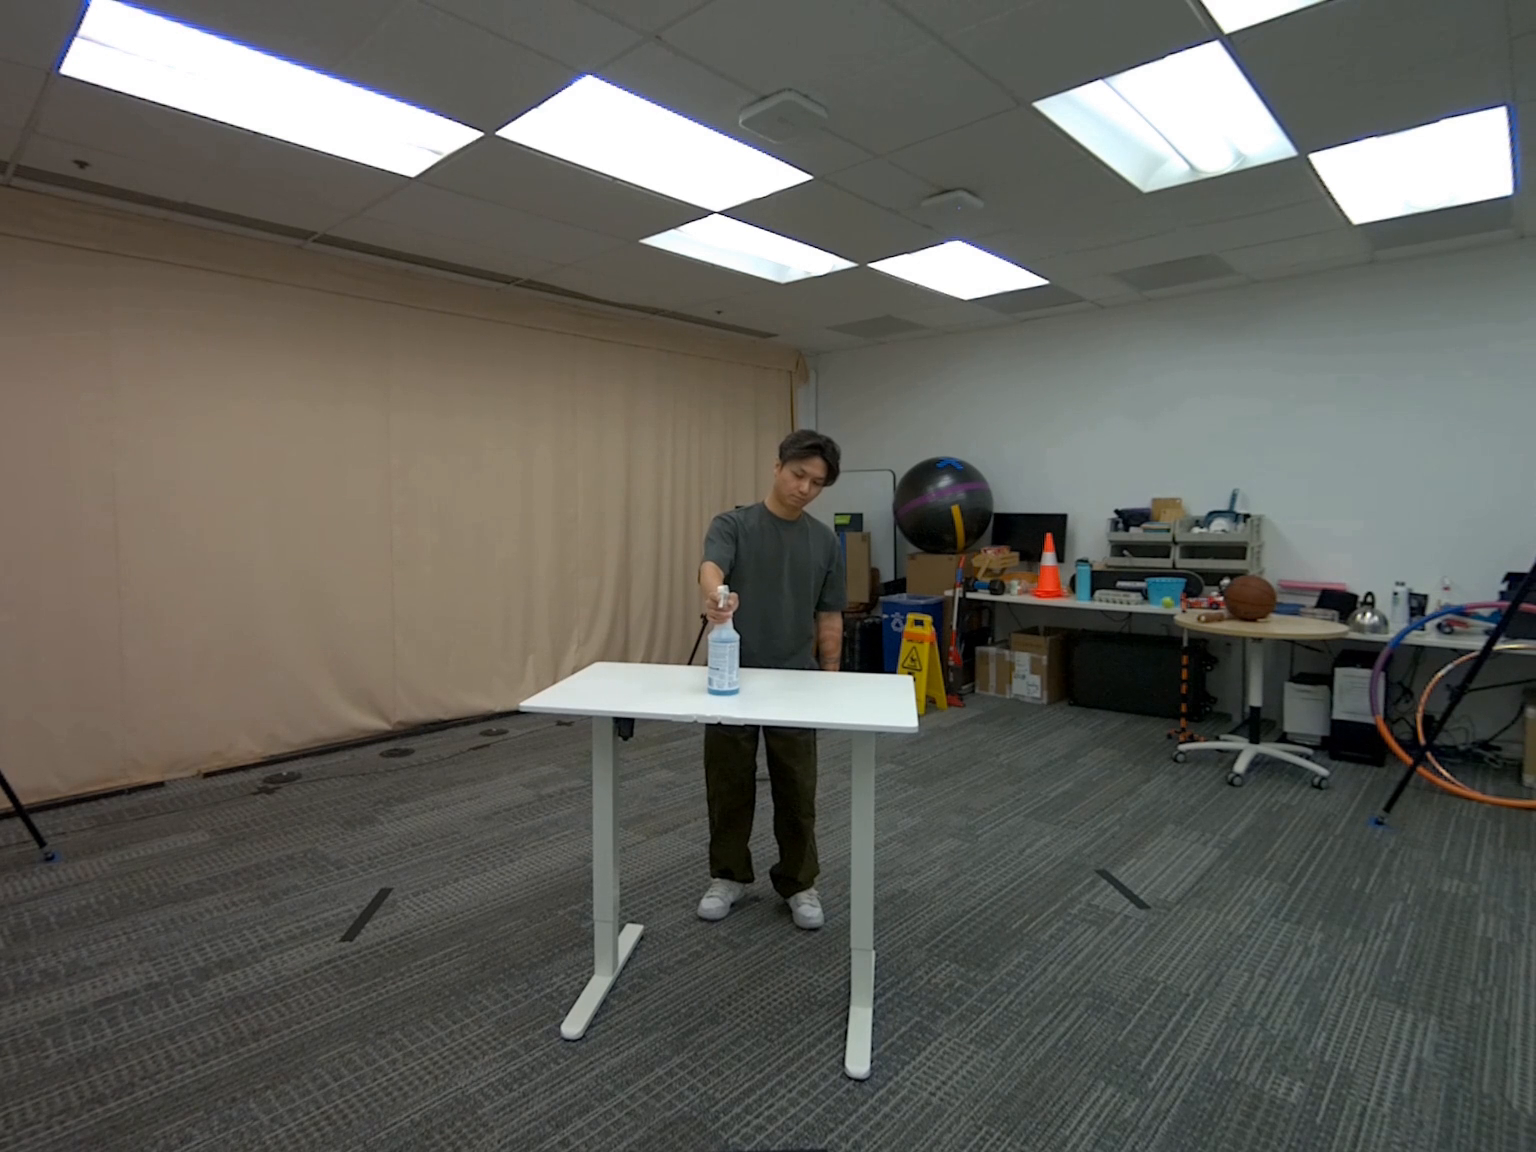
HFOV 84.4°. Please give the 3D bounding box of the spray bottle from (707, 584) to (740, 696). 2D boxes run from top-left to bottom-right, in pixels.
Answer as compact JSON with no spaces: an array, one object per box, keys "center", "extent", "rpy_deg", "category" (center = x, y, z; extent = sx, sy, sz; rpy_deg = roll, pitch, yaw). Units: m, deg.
[{"center":[-0.123,0.173,2.302],"extent":[0.090,0.297,0.087],"rpy_deg":[4,4,36],"category":"spray bottle"}]
